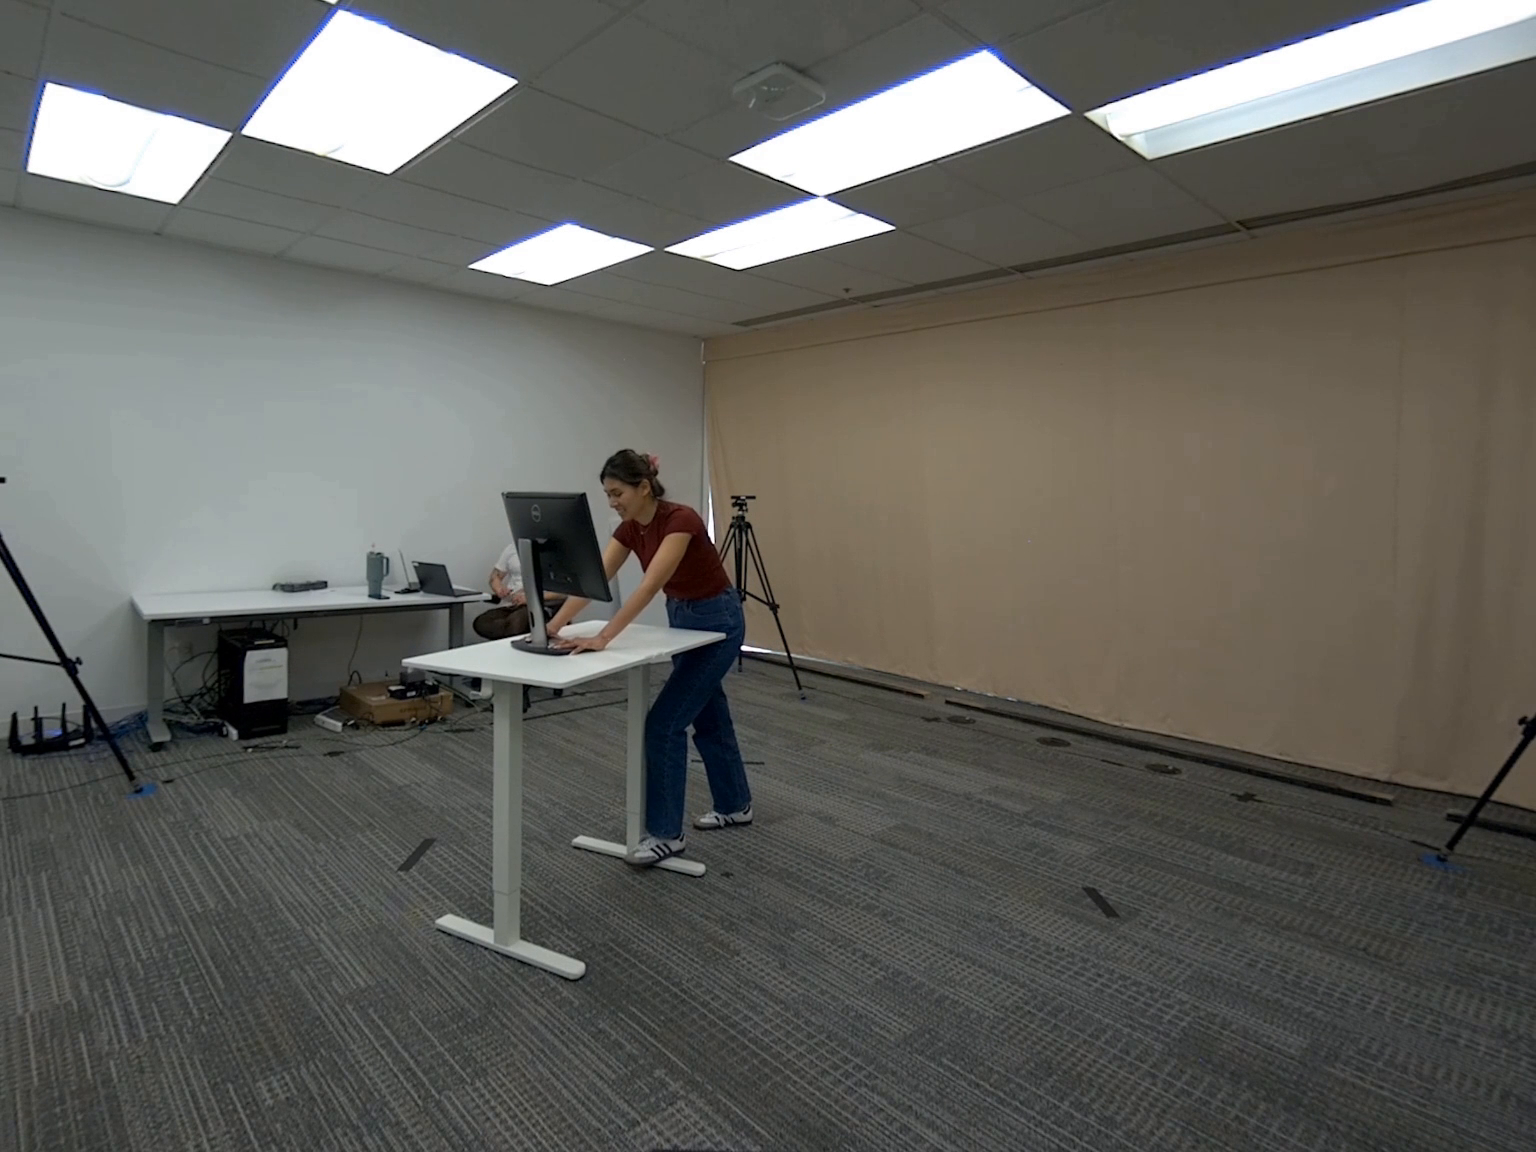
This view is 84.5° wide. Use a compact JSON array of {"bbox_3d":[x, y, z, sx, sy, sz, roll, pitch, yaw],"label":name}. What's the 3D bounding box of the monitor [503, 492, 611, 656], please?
[{"bbox_3d":[-0.731,-0.012,2.747,0.553,0.521,0.183,5,7,43],"label":"monitor"}]
